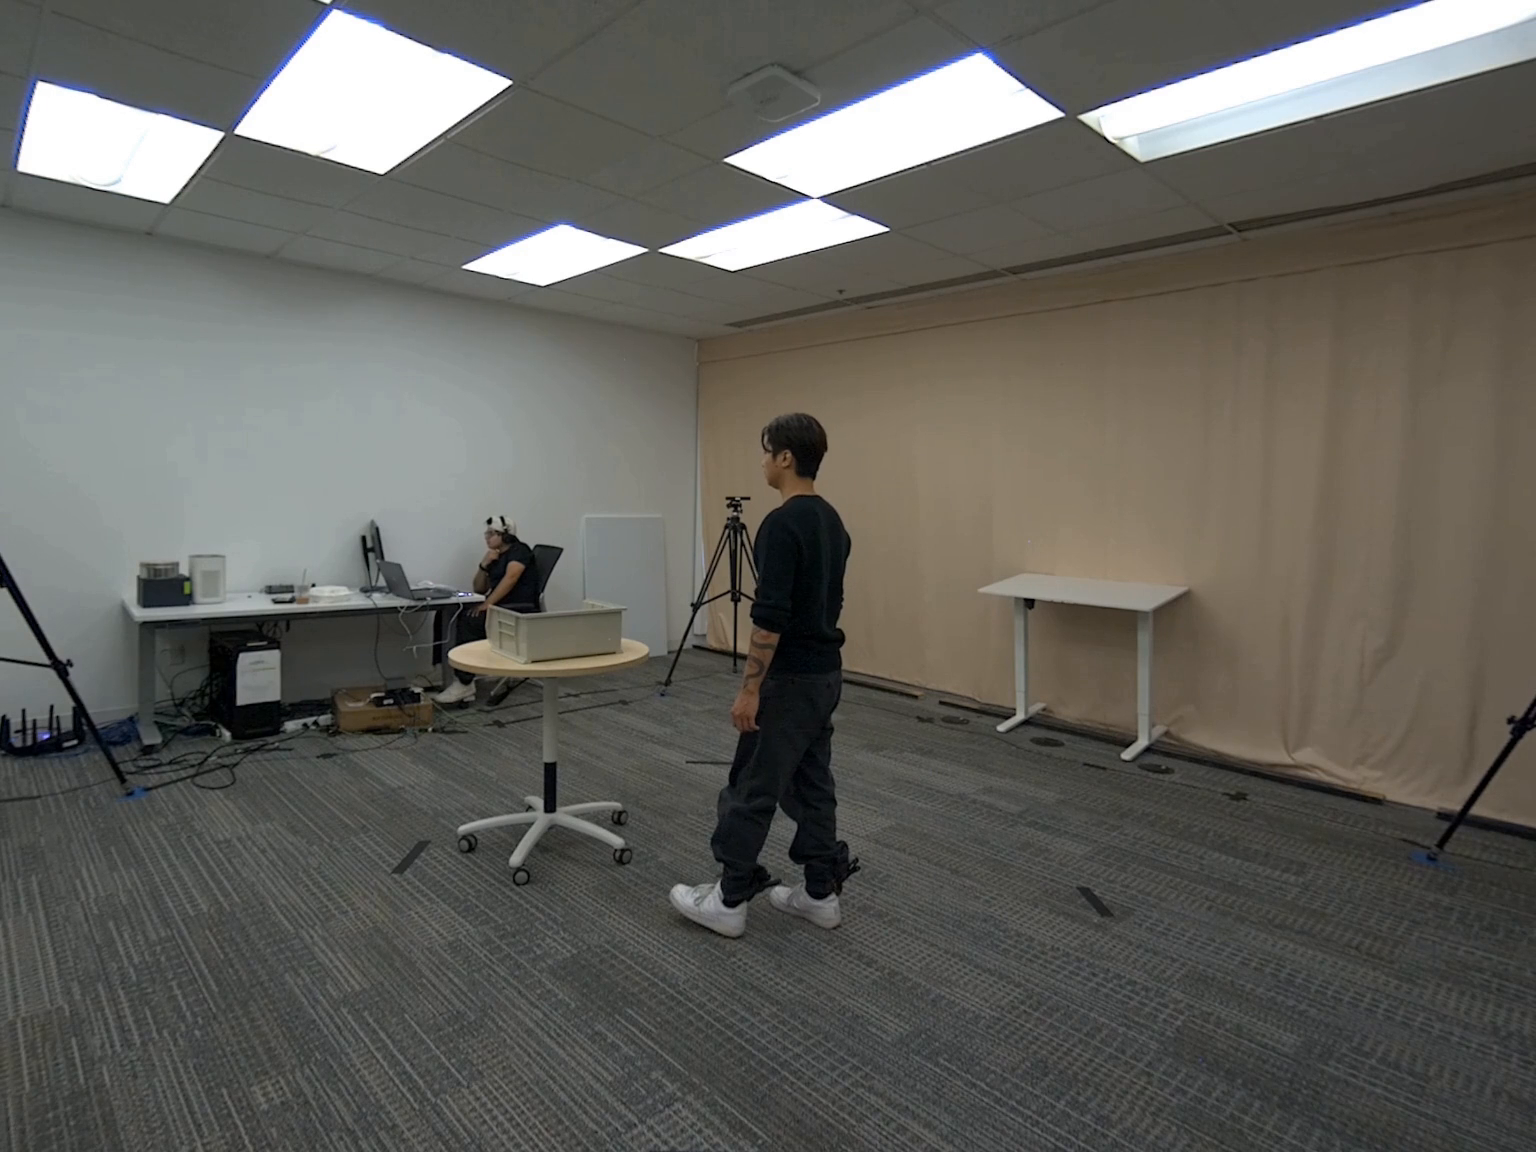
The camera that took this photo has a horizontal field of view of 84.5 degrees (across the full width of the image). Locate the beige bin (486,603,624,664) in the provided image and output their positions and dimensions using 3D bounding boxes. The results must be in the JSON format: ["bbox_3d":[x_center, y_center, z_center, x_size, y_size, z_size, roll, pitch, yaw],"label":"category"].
[{"bbox_3d":[-0.828,0.201,3.262,0.413,0.188,0.387,-2,7,-37],"label":"beige bin"}]
